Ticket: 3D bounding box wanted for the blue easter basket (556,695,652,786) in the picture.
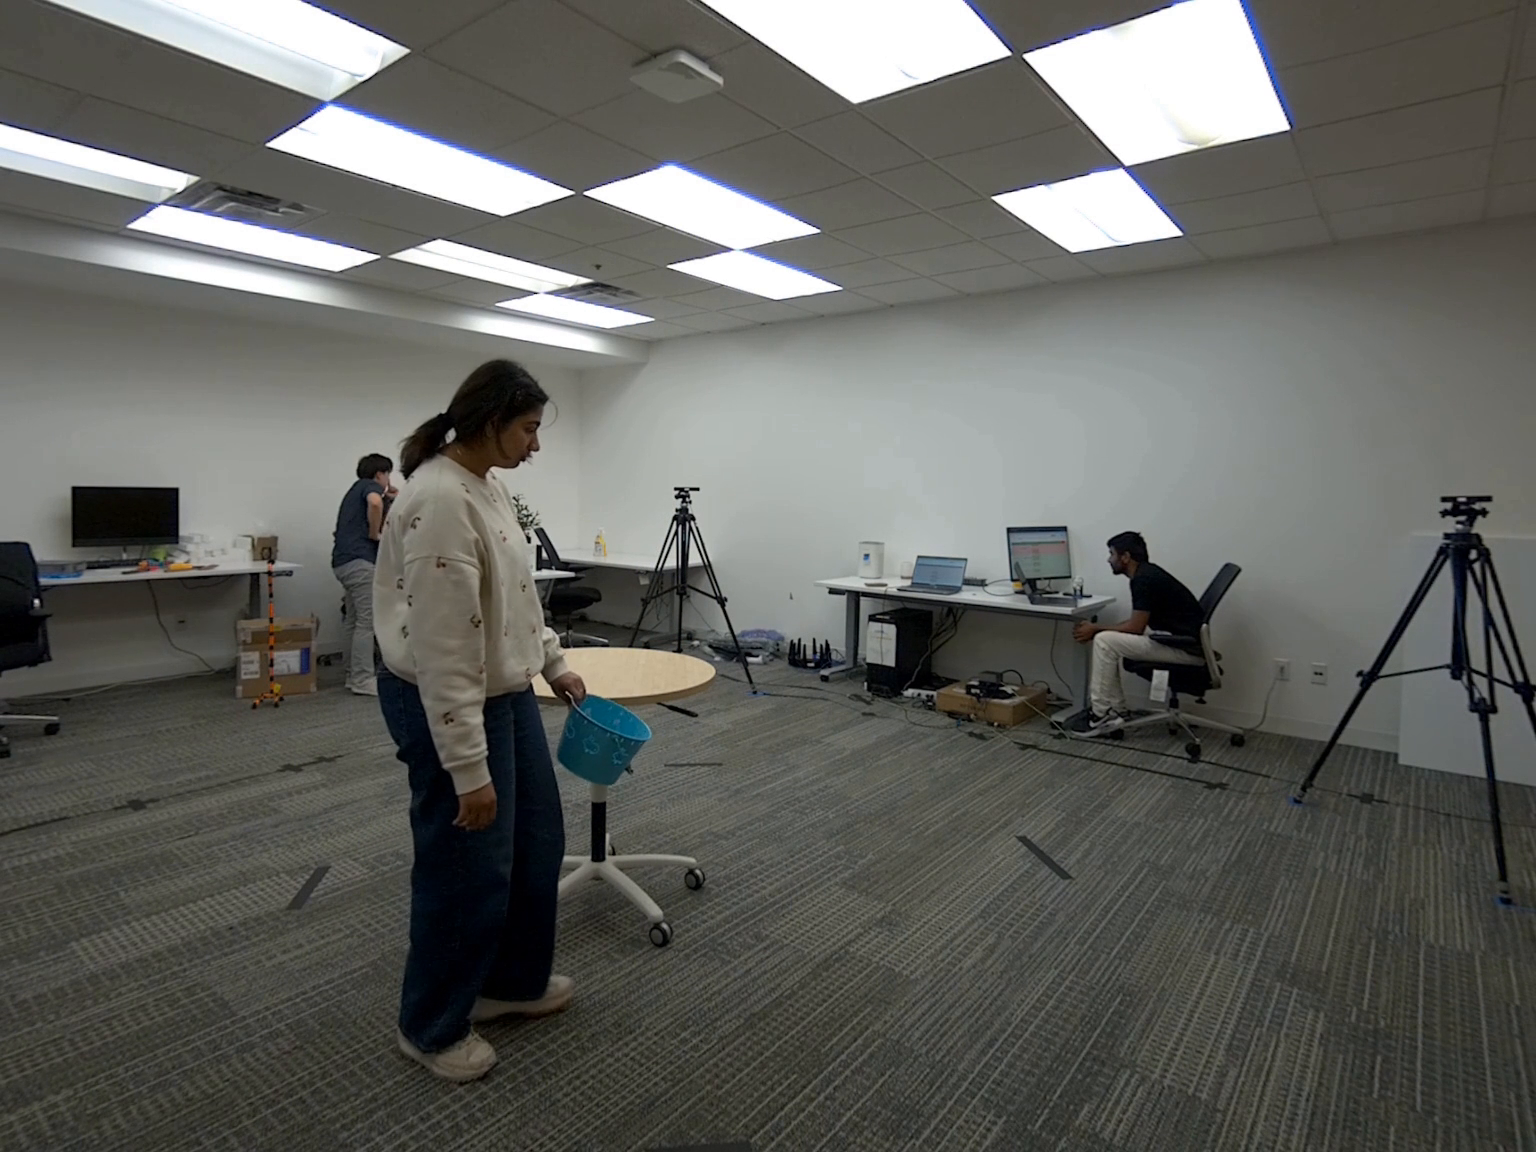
[{"bbox_3d":[-0.444,0.440,2.237,0.243,0.155,0.245,25,4,-4],"label":"blue easter basket"}]
